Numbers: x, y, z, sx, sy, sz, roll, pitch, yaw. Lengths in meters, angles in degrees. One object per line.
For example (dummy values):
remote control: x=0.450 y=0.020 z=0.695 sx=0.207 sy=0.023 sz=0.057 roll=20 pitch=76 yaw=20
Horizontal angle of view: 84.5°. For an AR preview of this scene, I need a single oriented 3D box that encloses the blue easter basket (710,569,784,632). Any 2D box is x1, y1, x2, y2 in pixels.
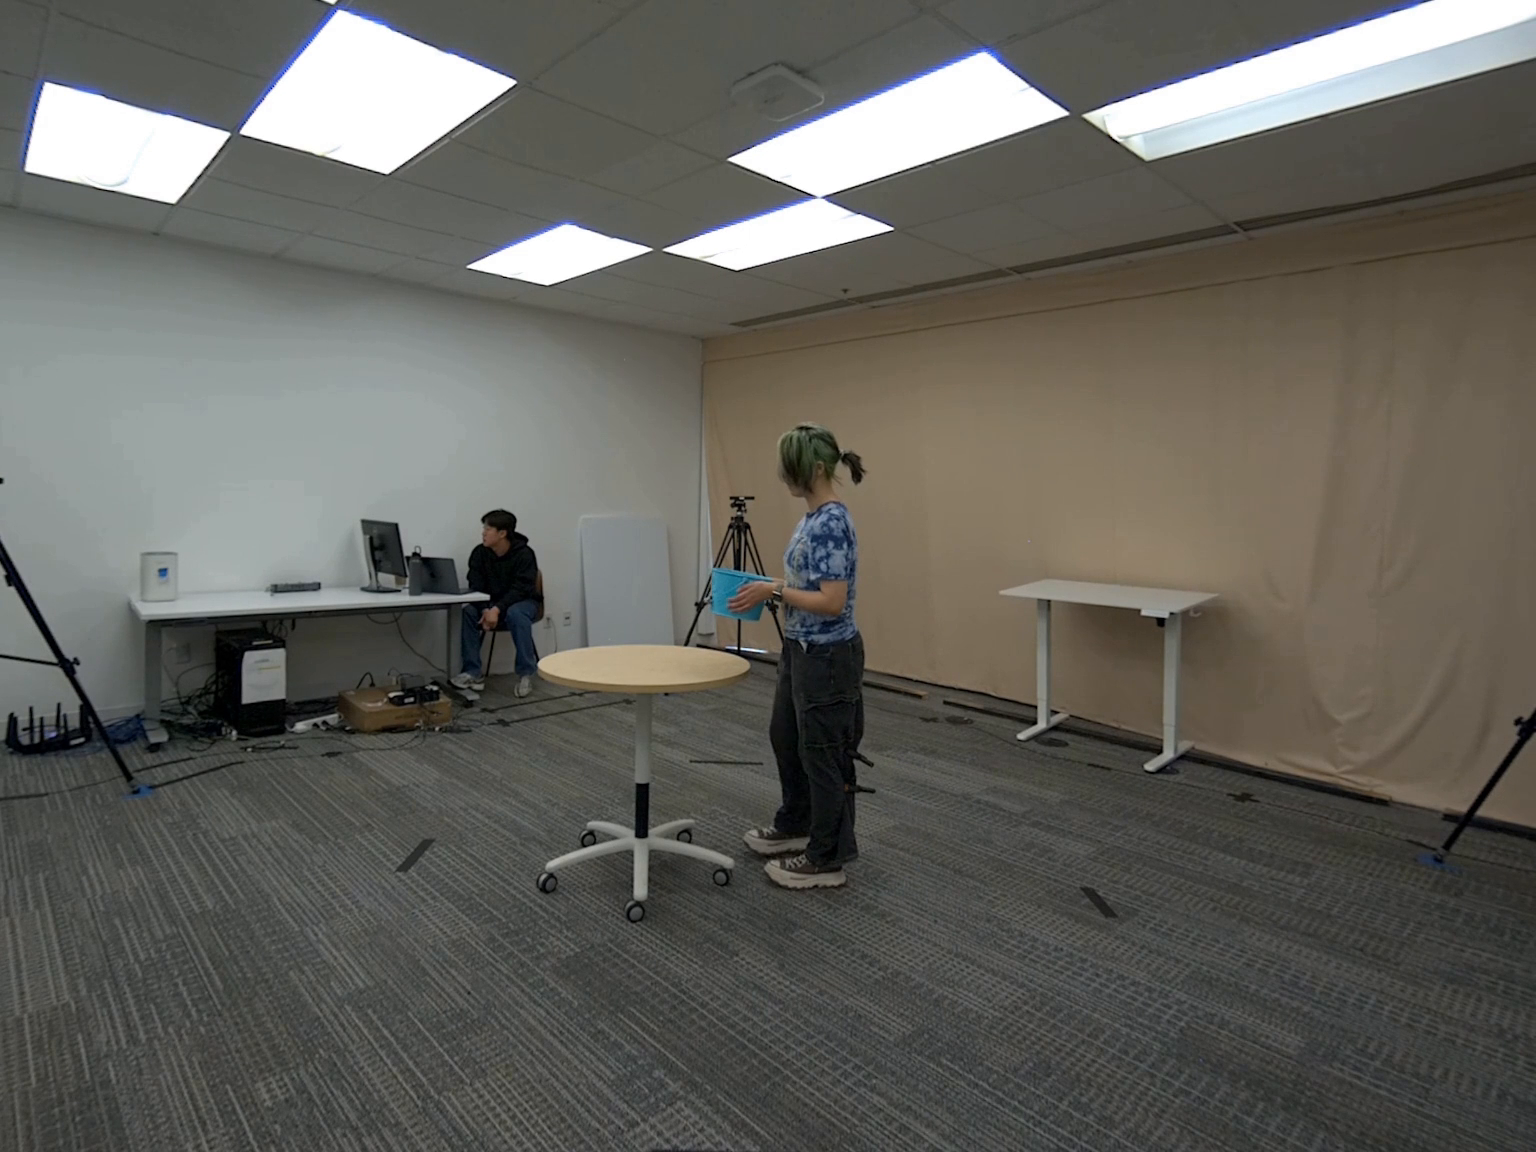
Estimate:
blue easter basket: x=-0.068 y=0.081 z=2.985 sx=0.243 sy=0.155 sz=0.244 roll=10 pitch=3 yaw=-2
